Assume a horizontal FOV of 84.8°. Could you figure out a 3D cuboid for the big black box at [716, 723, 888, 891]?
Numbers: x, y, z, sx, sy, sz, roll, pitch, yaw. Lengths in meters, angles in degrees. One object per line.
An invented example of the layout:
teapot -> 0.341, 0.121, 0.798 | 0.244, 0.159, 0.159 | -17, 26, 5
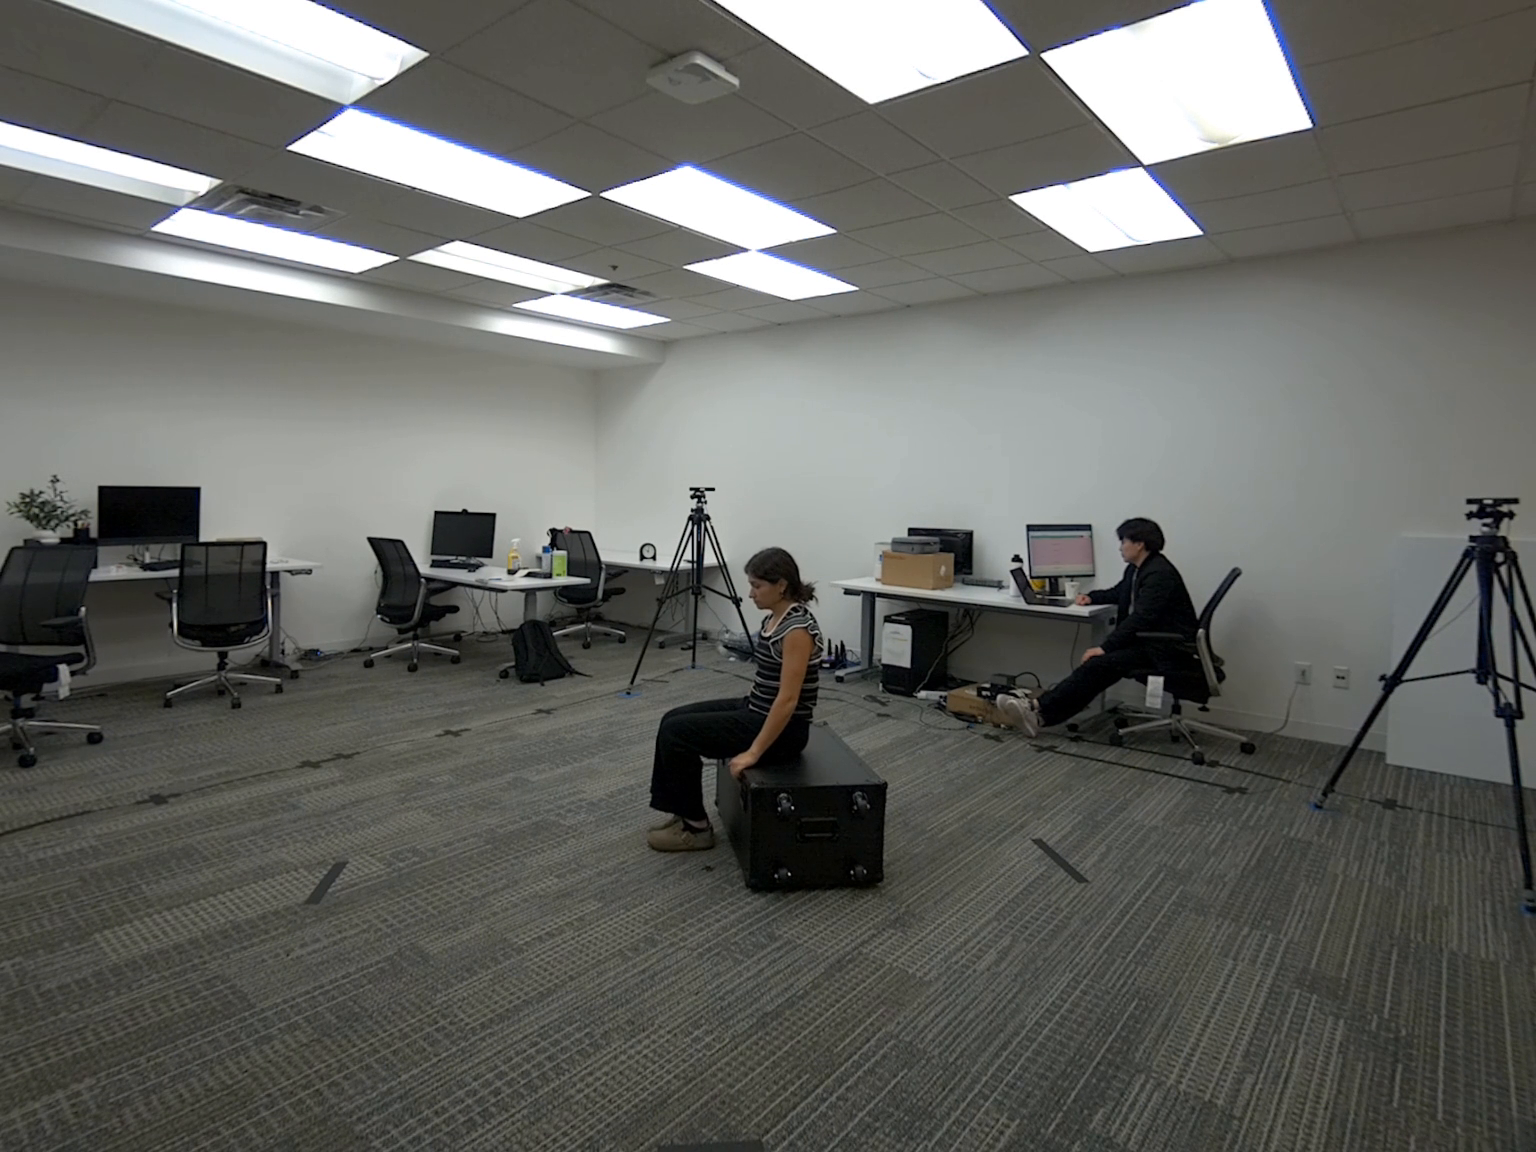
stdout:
big black box -> 0.090, 0.861, 3.286 | 0.515, 0.395, 0.875 | 0, 5, -12
